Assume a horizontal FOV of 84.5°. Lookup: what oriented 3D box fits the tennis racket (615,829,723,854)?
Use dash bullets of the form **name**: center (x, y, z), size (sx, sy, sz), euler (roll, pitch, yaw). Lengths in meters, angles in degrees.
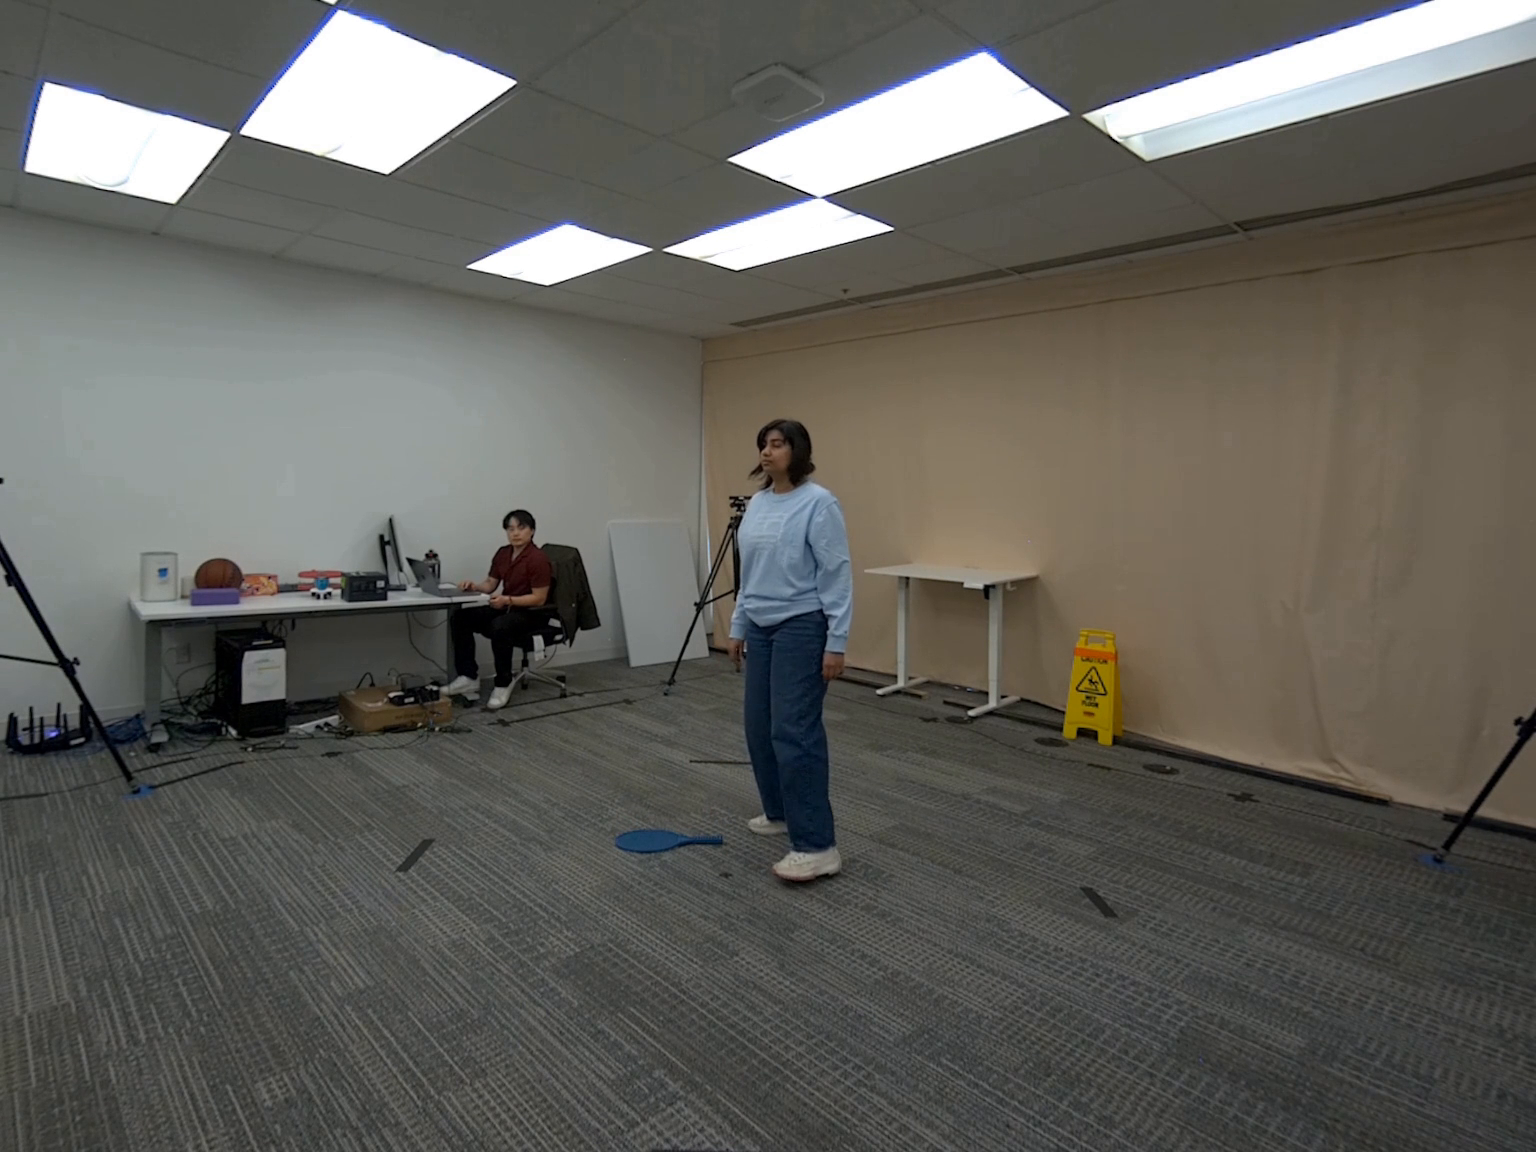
- **tennis racket**: center (-0.403, 1.060, 3.381), size (0.433, 0.031, 0.214), euler (0, 5, 1)
